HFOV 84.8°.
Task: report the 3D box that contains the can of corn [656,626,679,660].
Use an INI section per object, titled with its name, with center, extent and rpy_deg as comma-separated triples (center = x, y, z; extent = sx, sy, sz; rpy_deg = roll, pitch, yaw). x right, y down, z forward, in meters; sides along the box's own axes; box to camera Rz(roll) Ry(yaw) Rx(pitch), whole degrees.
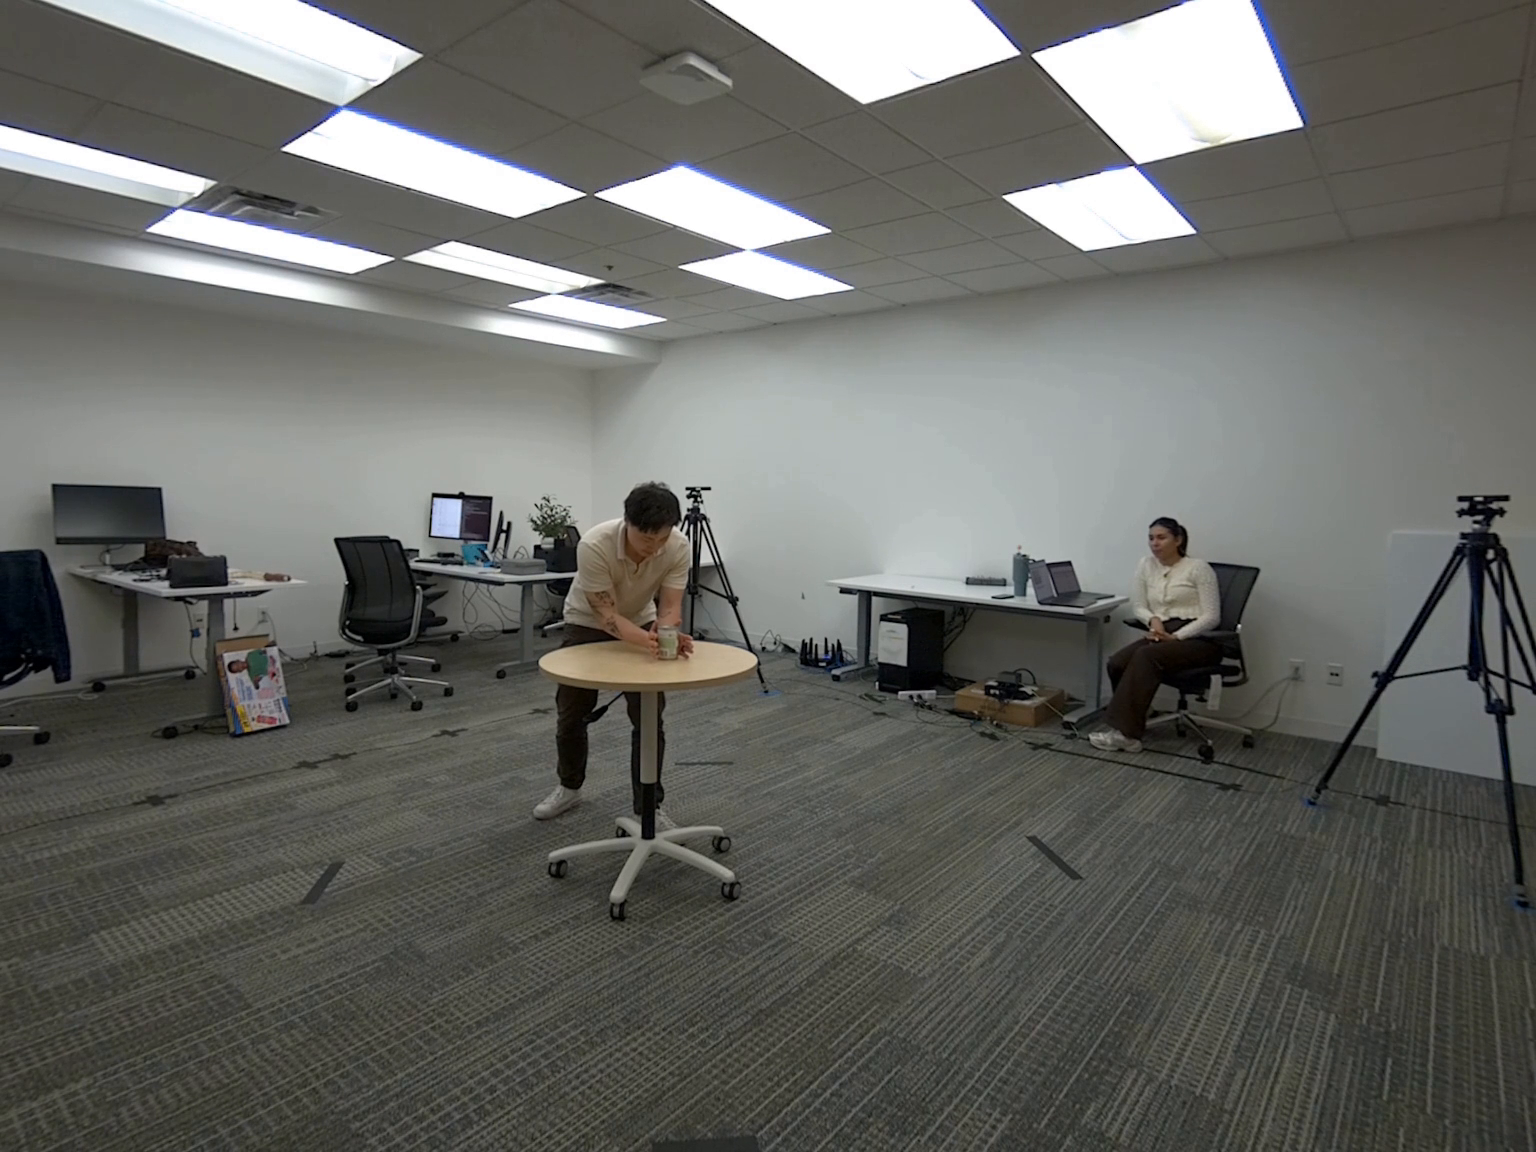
[can of corn]
center = -0.373, 0.237, 3.007
extent = 0.074, 0.111, 0.074
rpy_deg = -3, -2, -2
